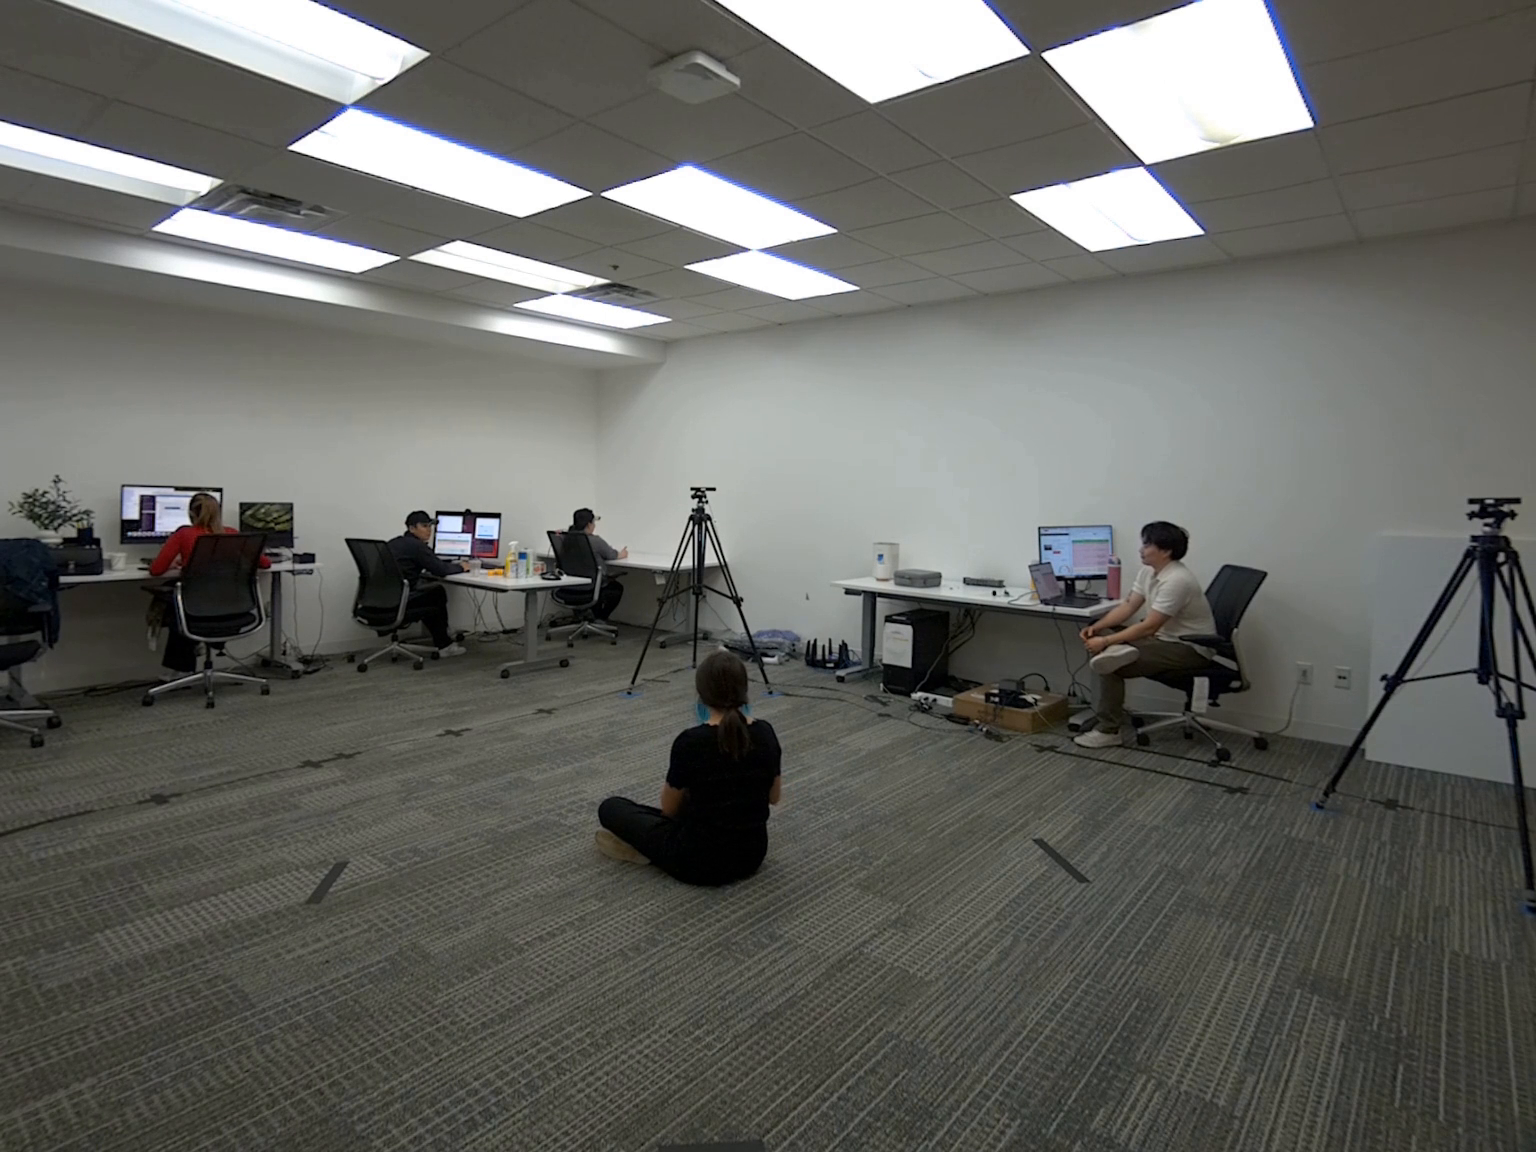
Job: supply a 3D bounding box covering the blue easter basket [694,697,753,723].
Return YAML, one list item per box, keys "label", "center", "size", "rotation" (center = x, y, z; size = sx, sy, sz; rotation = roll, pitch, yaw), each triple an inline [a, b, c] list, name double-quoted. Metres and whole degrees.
- label: "blue easter basket"
  center: [-0.200, 0.543, 3.522]
  size: [0.240, 0.248, 0.156]
  rotation: [0, -16, -16]
